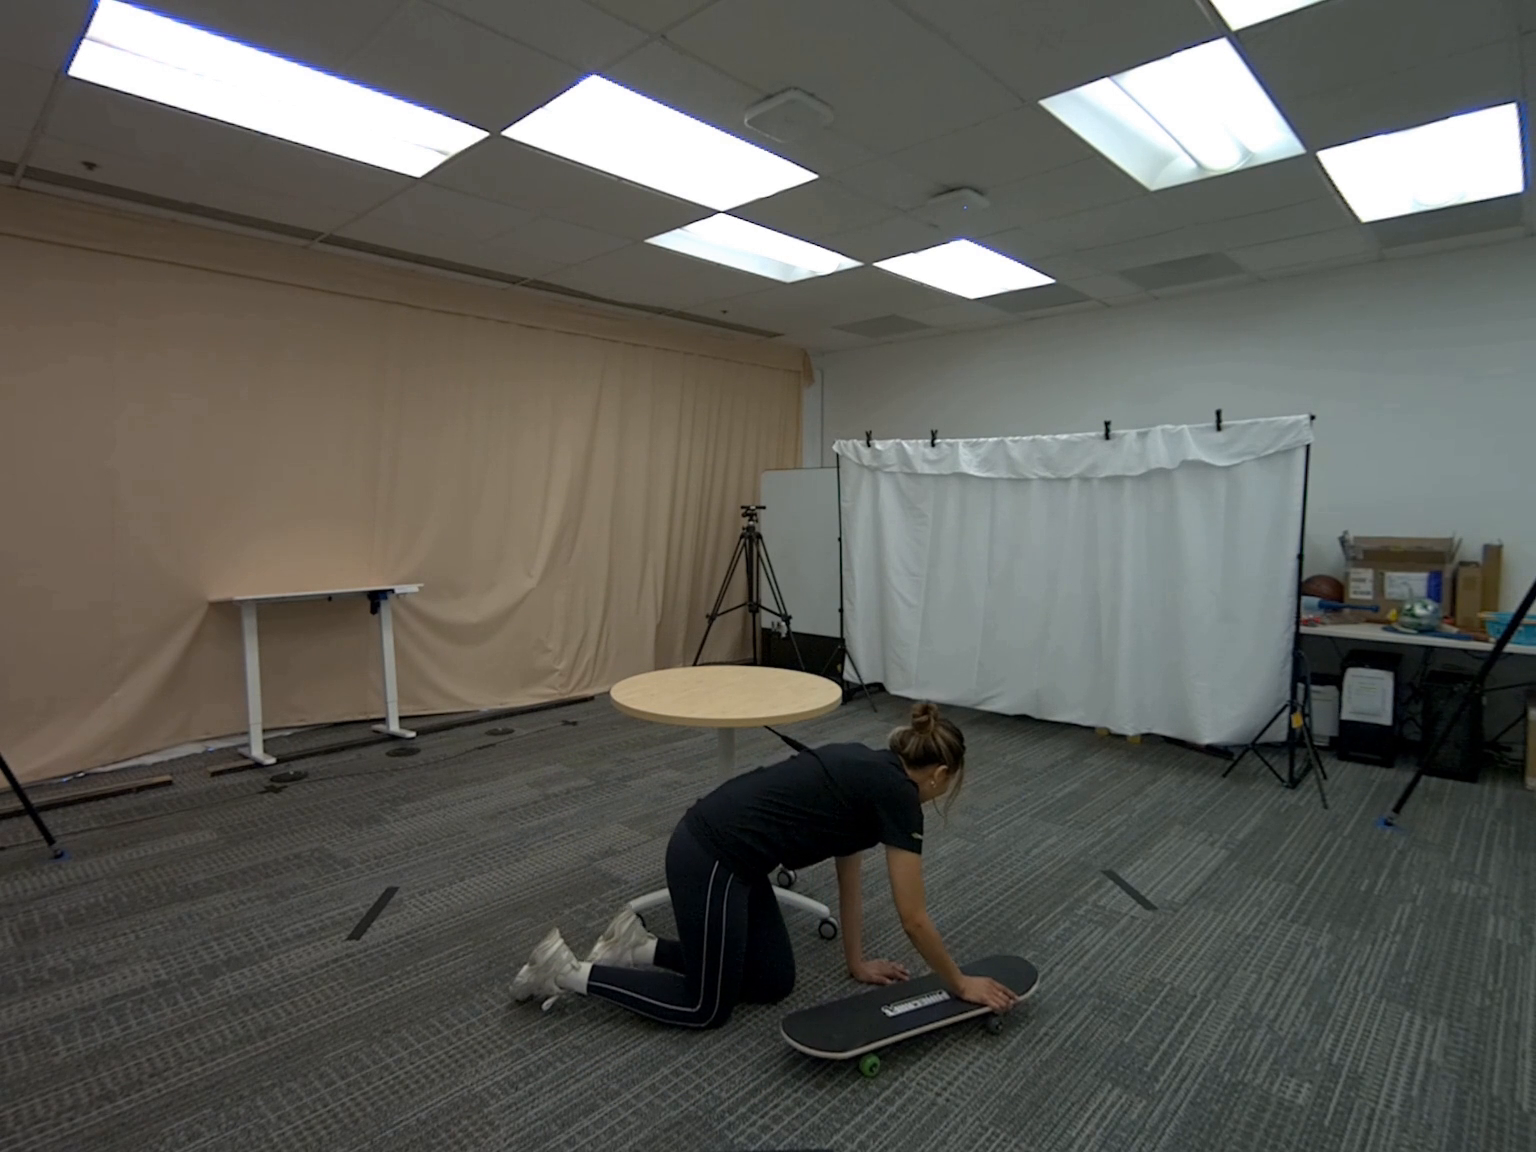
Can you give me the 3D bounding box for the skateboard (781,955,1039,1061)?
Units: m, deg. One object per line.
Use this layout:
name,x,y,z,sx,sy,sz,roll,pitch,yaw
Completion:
skateboard,0.395,1.160,2.192,0.768,0.110,0.198,-2,4,-23
